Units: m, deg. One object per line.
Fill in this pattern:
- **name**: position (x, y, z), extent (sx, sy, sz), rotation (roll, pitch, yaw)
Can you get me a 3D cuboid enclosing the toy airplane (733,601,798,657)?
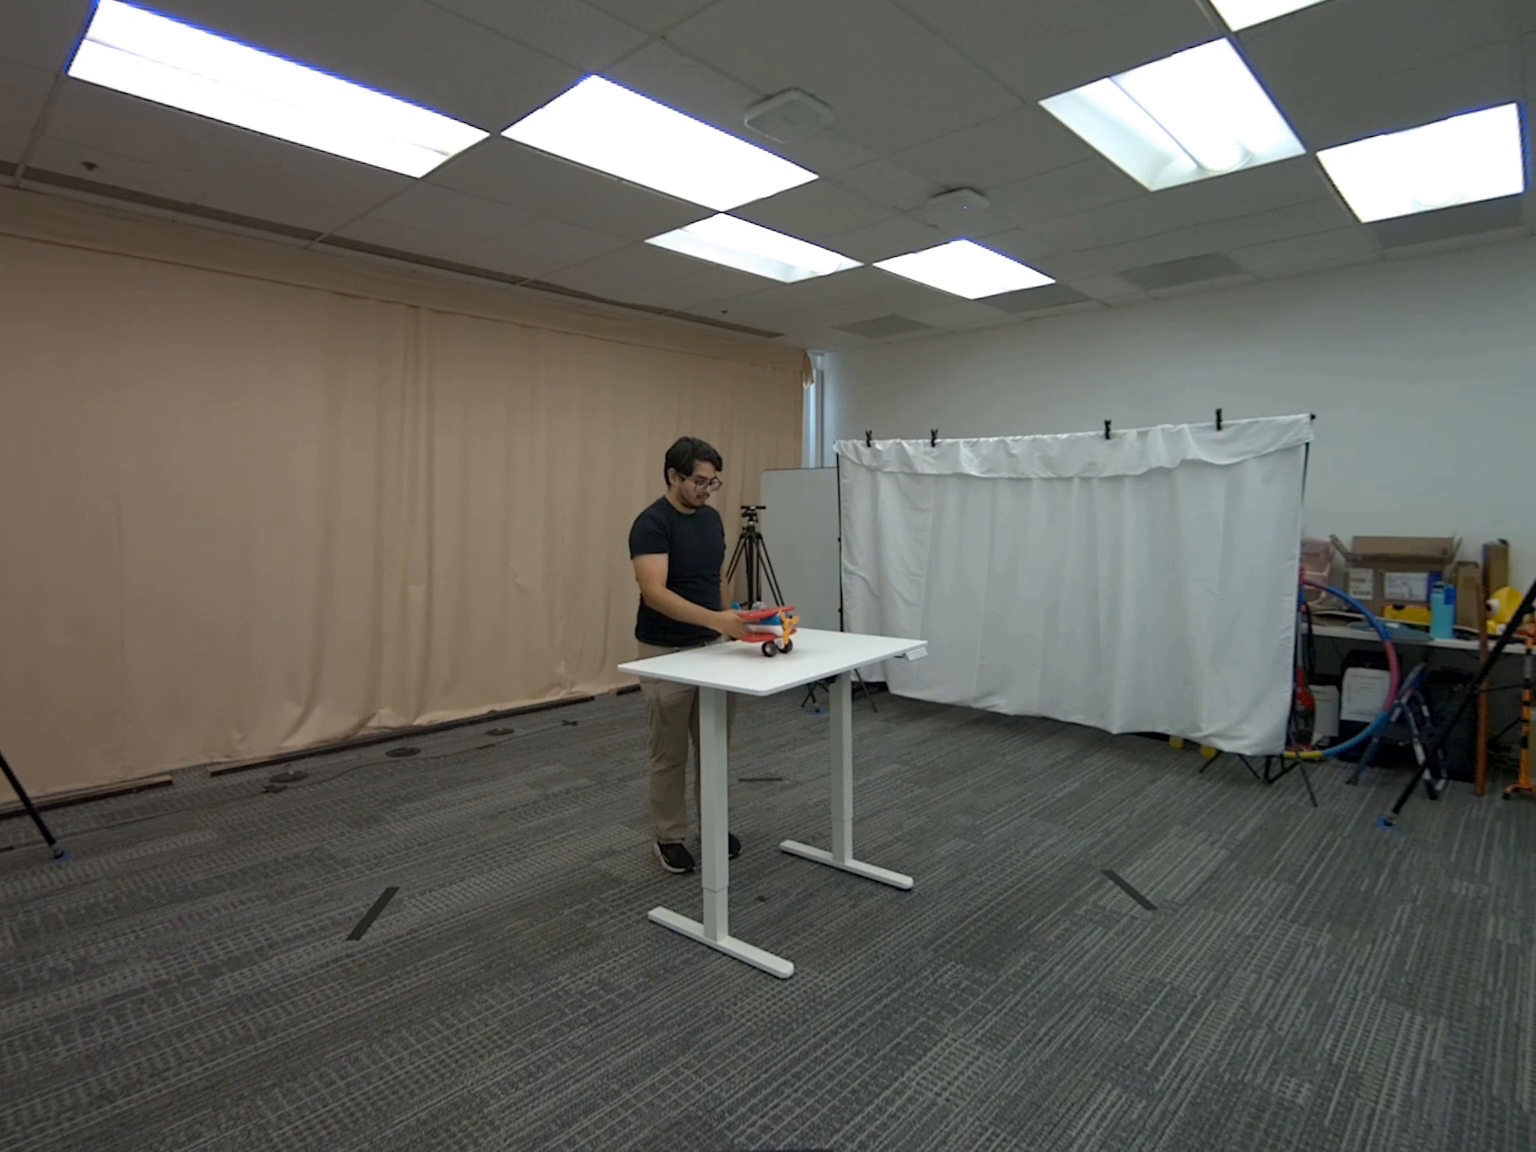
- **toy airplane**: position (-0.032, 0.176, 2.898), extent (0.263, 0.155, 0.249), rotation (10, 12, 10)
